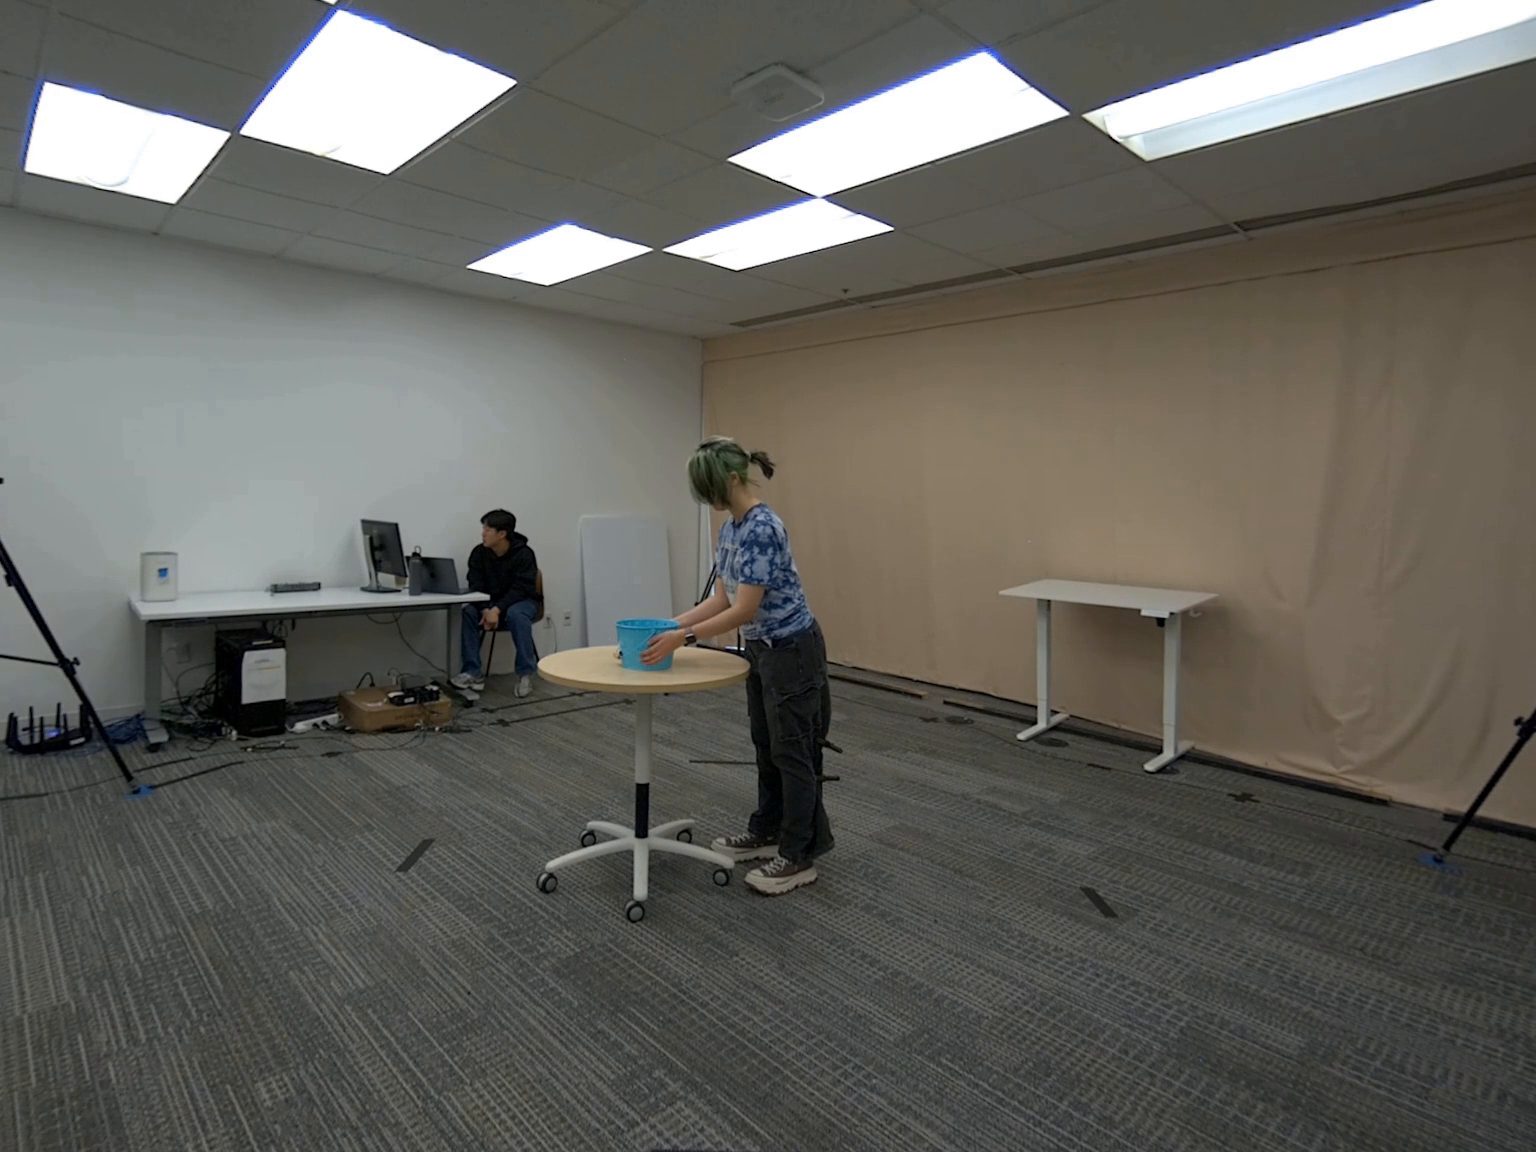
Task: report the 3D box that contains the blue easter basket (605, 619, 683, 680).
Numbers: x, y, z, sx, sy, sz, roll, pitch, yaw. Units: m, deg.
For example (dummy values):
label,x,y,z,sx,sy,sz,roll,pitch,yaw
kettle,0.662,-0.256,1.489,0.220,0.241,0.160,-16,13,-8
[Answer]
label,x,y,z,sx,sy,sz,roll,pitch,yaw
blue easter basket,-0.432,0.254,2.988,0.243,0.155,0.244,3,4,-2
